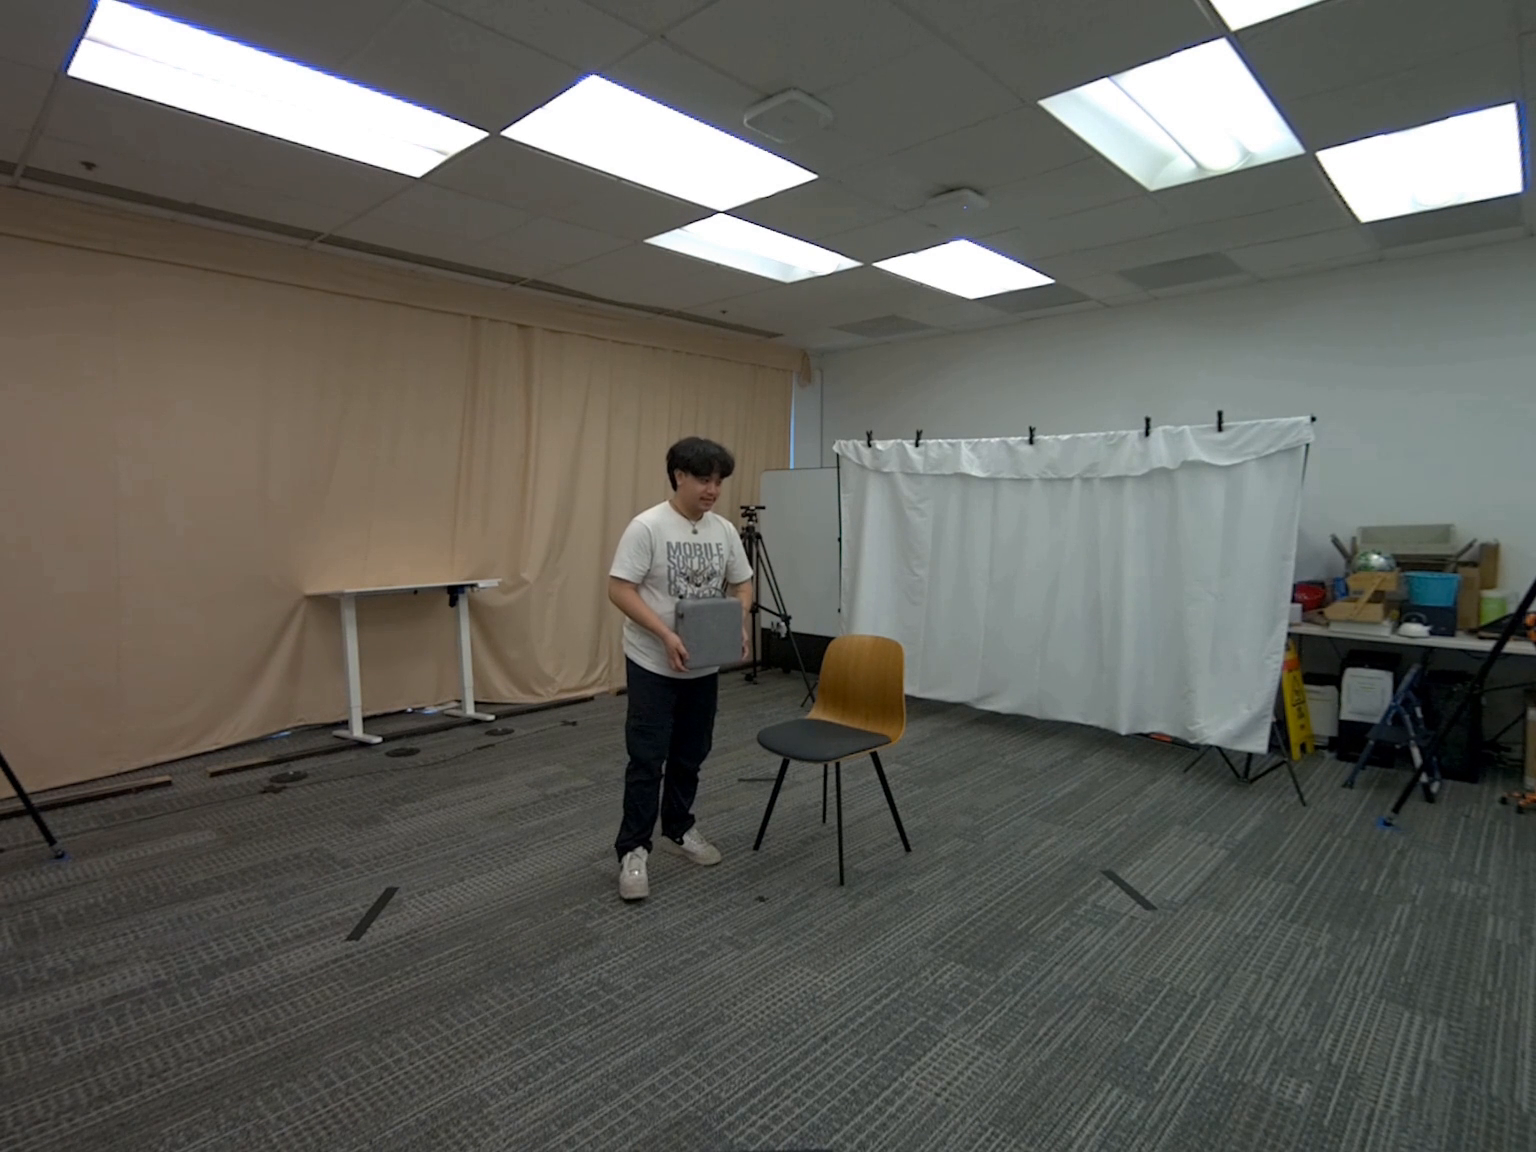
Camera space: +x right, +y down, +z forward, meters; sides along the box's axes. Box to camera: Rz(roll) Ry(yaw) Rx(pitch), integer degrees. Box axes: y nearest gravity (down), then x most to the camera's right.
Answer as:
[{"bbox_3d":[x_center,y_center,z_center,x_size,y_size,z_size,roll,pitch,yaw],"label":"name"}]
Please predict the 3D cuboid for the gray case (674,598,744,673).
[{"bbox_3d":[-0.216,0.200,3.082,0.249,0.260,0.108,-3,8,-36],"label":"gray case"}]
